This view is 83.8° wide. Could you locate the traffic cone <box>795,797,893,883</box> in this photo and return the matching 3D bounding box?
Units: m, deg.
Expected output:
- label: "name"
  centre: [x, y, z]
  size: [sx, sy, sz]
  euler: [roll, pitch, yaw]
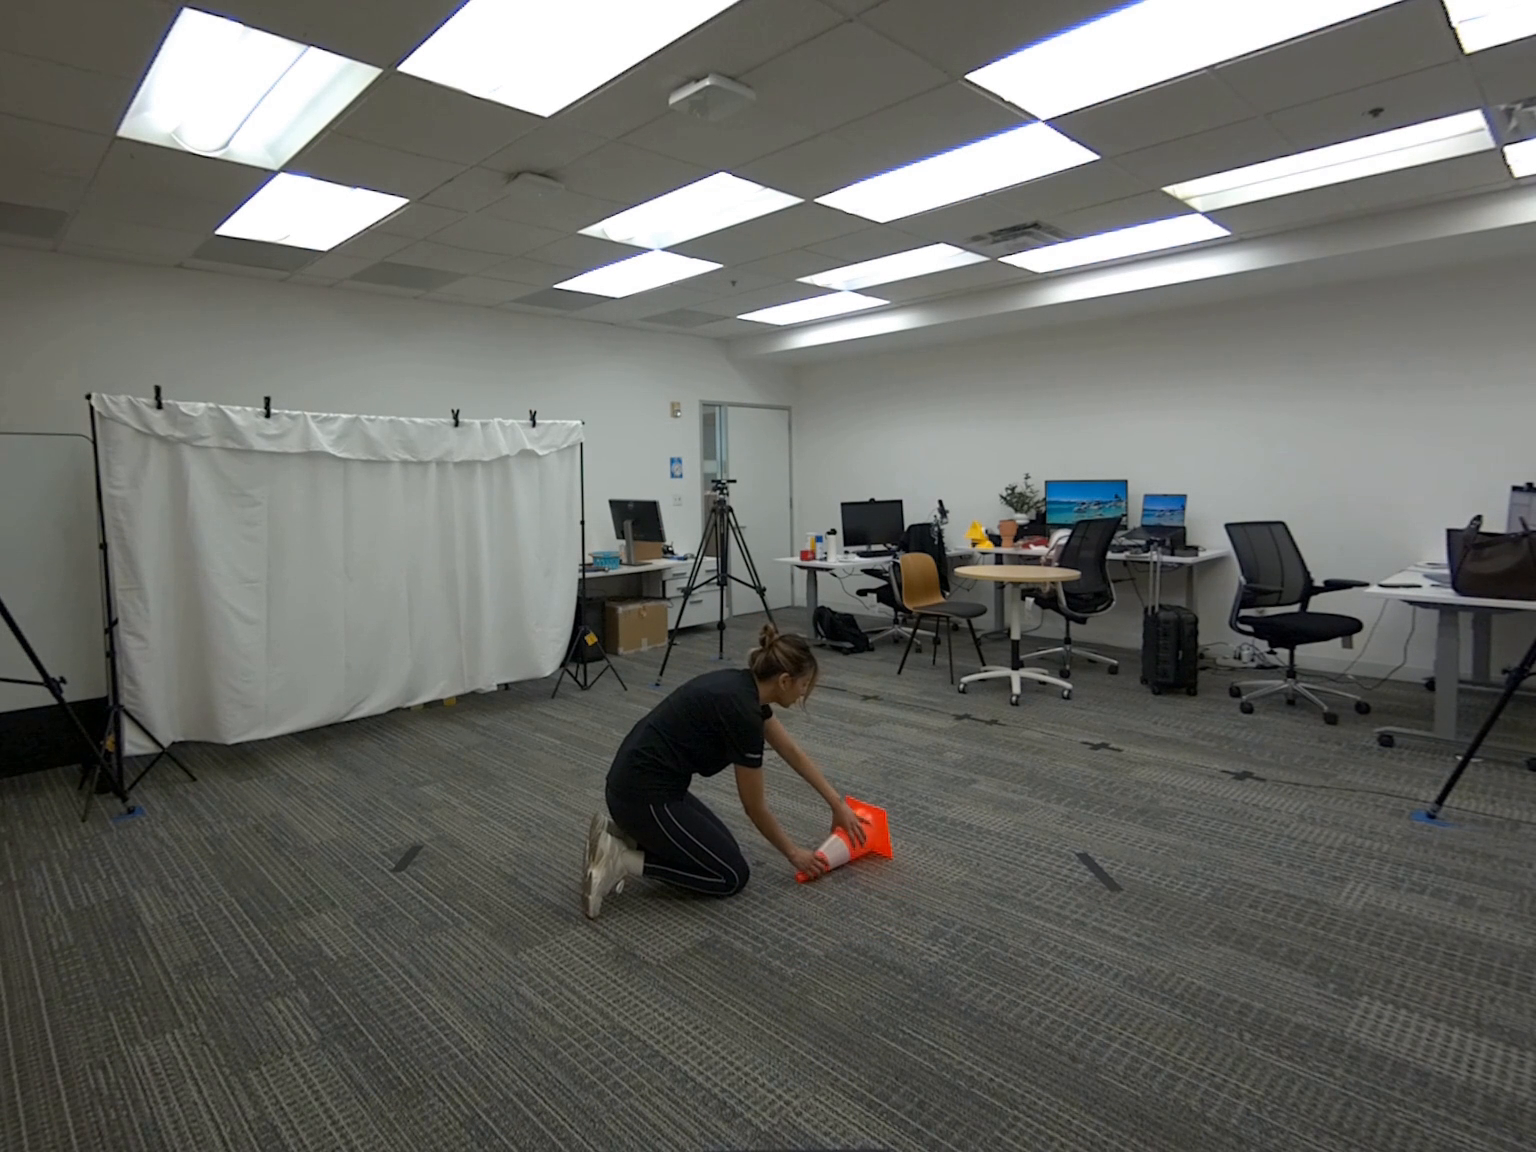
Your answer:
- label: "traffic cone"
  centre: [0.242, 0.989, 3.068]
  size: [0.377, 0.202, 0.209]
  euler: [-21, 17, -40]
